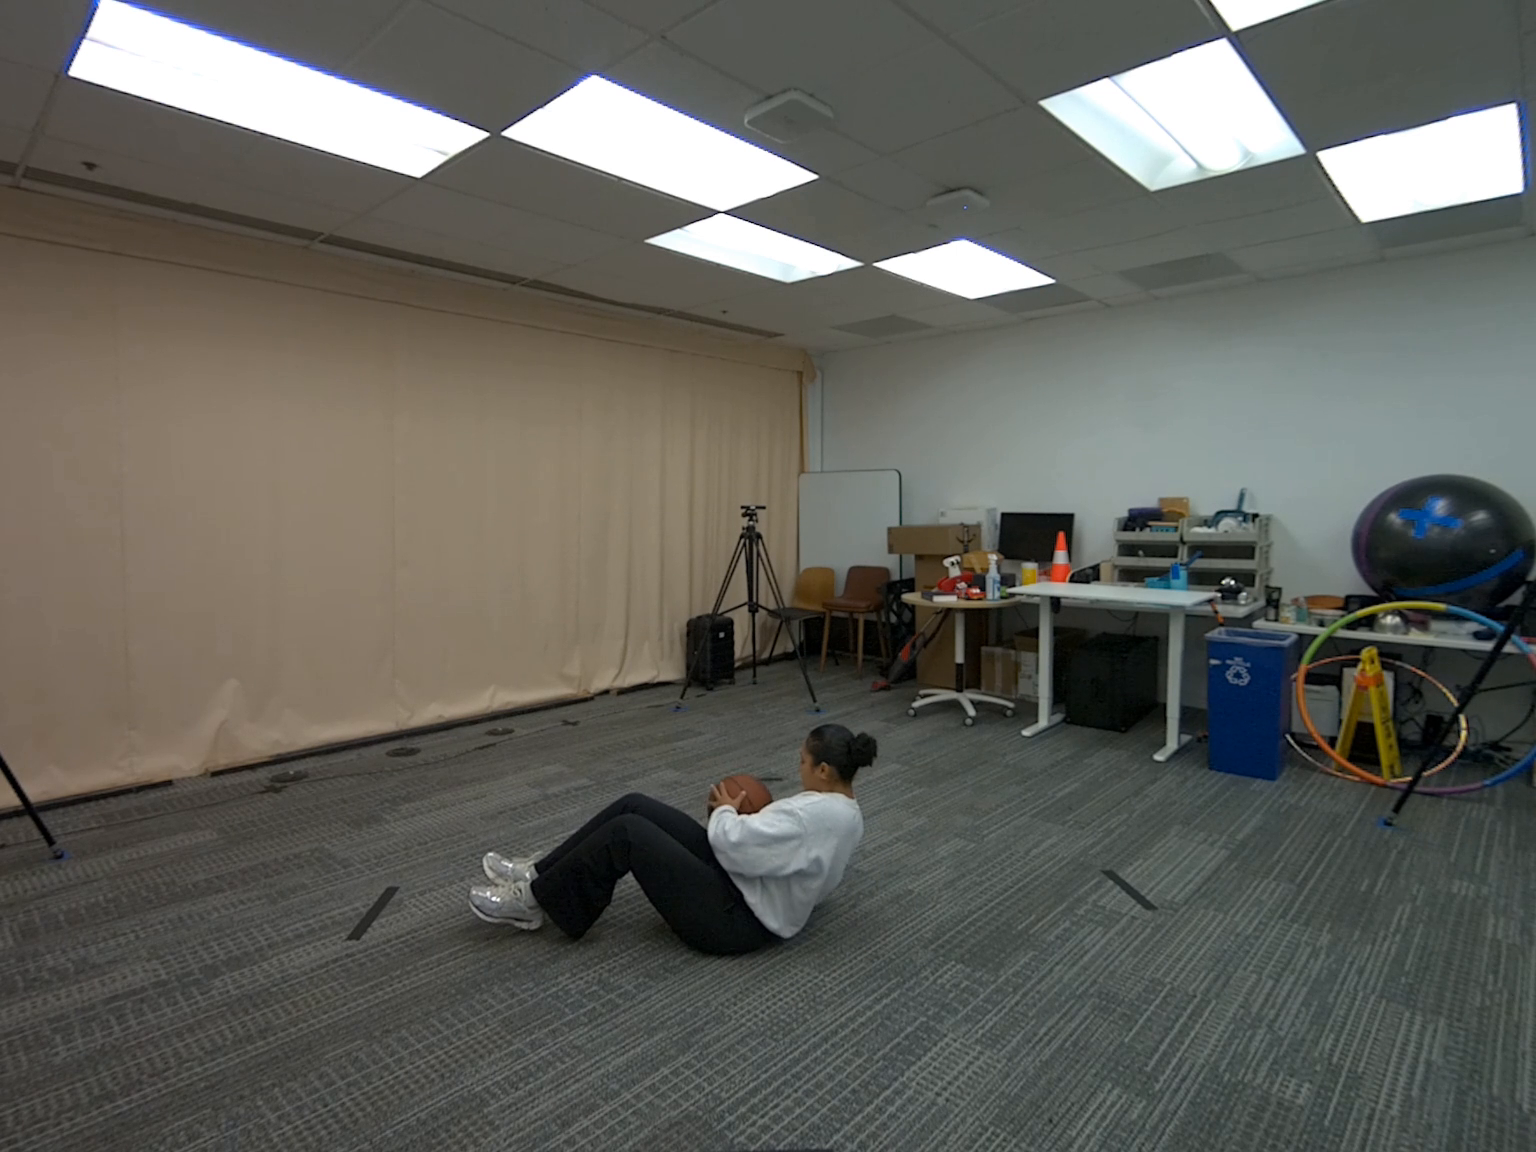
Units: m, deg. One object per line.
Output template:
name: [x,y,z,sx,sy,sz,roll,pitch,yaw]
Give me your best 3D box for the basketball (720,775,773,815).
basketball: [-0.090,0.830,3.001,0.236,0.235,0.237,0,4,-2]
